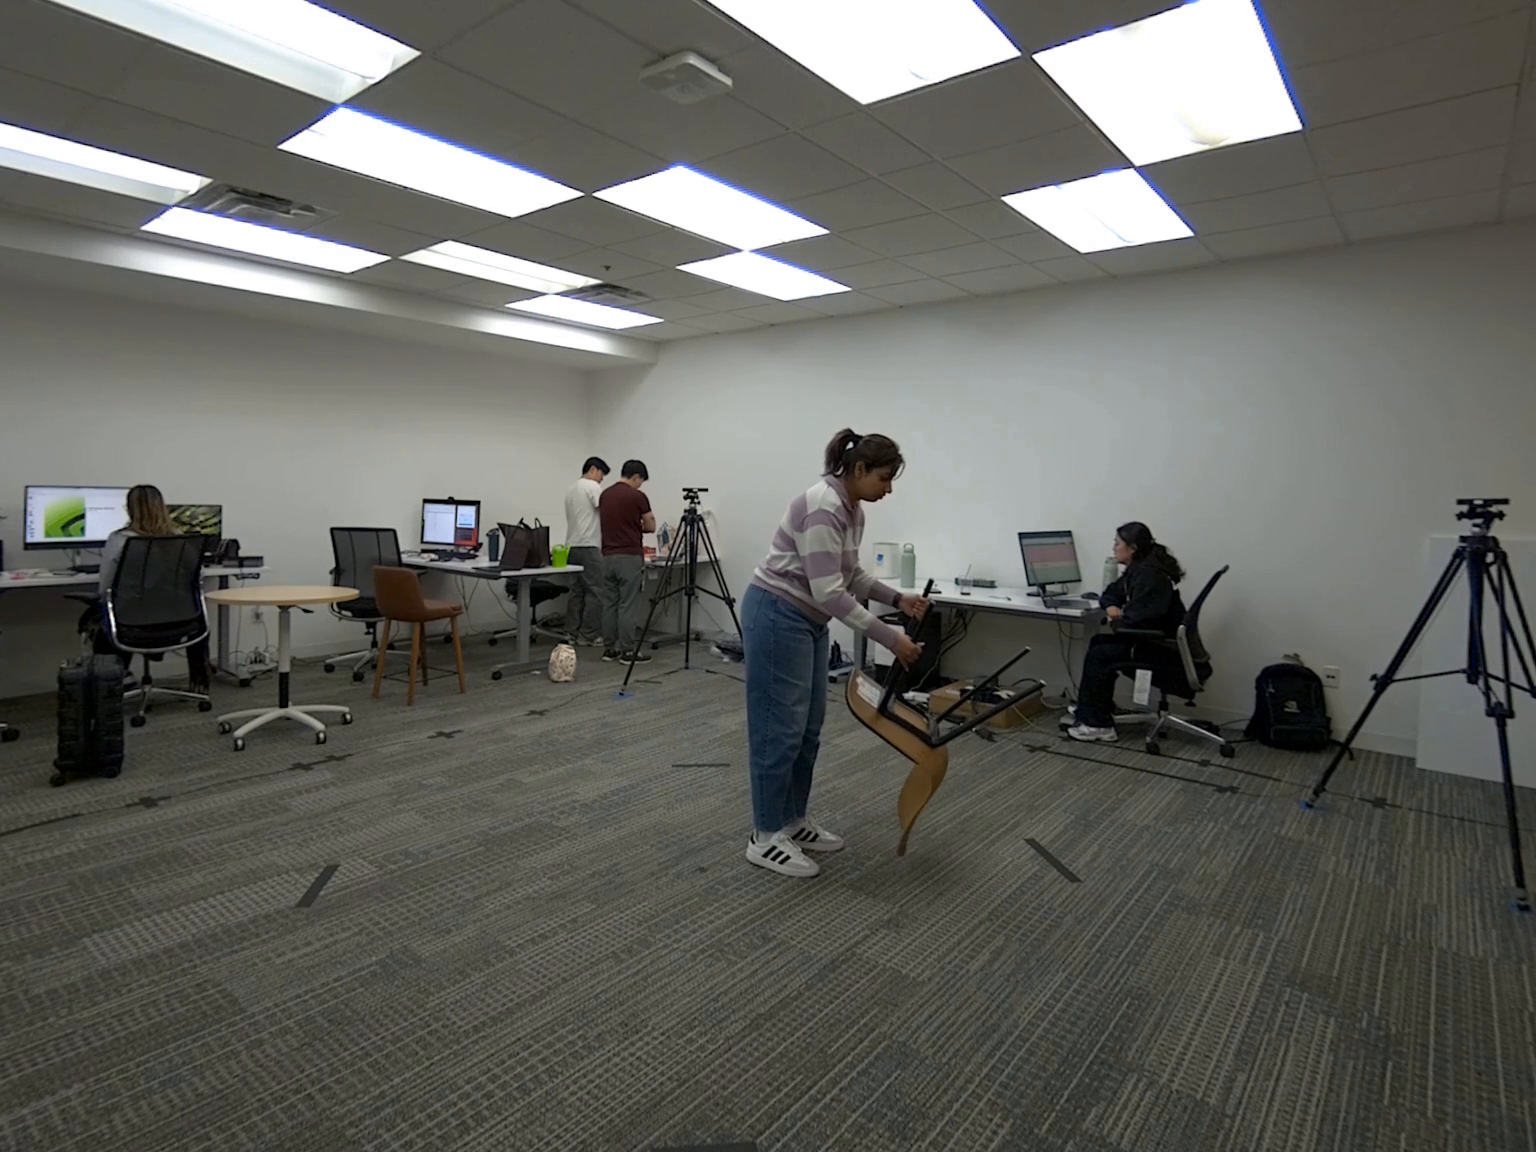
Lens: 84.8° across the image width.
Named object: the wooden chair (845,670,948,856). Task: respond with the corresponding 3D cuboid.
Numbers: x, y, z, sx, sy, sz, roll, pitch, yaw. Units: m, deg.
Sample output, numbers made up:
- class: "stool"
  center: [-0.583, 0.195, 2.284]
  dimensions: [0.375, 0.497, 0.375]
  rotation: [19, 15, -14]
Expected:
- class: "wooden chair"
  center: [0.506, 0.515, 3.132]
  dimensions: [0.528, 0.874, 0.476]
  rotation: [33, 14, 5]
